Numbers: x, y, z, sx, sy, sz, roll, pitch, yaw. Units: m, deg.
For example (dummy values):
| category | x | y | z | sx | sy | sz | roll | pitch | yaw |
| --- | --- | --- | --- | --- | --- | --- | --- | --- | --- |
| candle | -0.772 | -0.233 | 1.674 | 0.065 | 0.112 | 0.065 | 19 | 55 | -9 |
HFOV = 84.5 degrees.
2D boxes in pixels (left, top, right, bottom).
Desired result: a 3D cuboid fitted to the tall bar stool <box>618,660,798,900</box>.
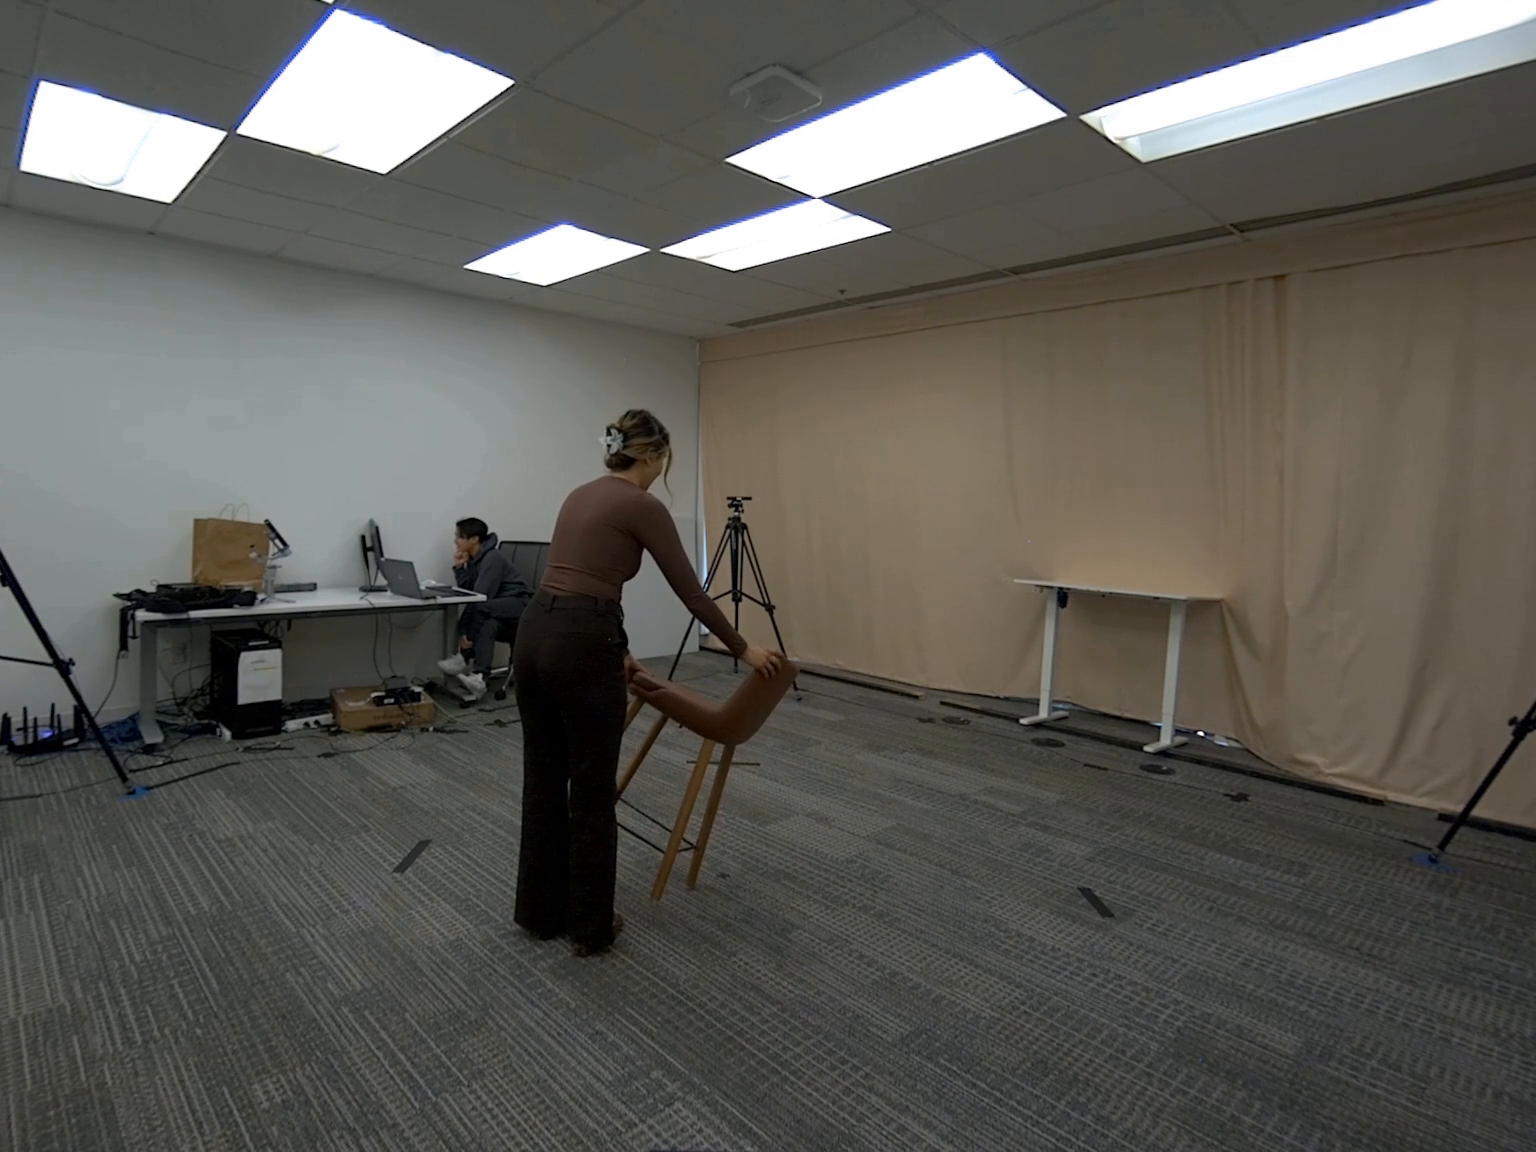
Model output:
| category | x | y | z | sx | sy | sz | roll | pitch | yaw |
| --- | --- | --- | --- | --- | --- | --- | --- | --- | --- |
| tall bar stool | -0.313 | 0.606 | 2.961 | 0.478 | 0.891 | 0.446 | 25 | -6 | 21 |
